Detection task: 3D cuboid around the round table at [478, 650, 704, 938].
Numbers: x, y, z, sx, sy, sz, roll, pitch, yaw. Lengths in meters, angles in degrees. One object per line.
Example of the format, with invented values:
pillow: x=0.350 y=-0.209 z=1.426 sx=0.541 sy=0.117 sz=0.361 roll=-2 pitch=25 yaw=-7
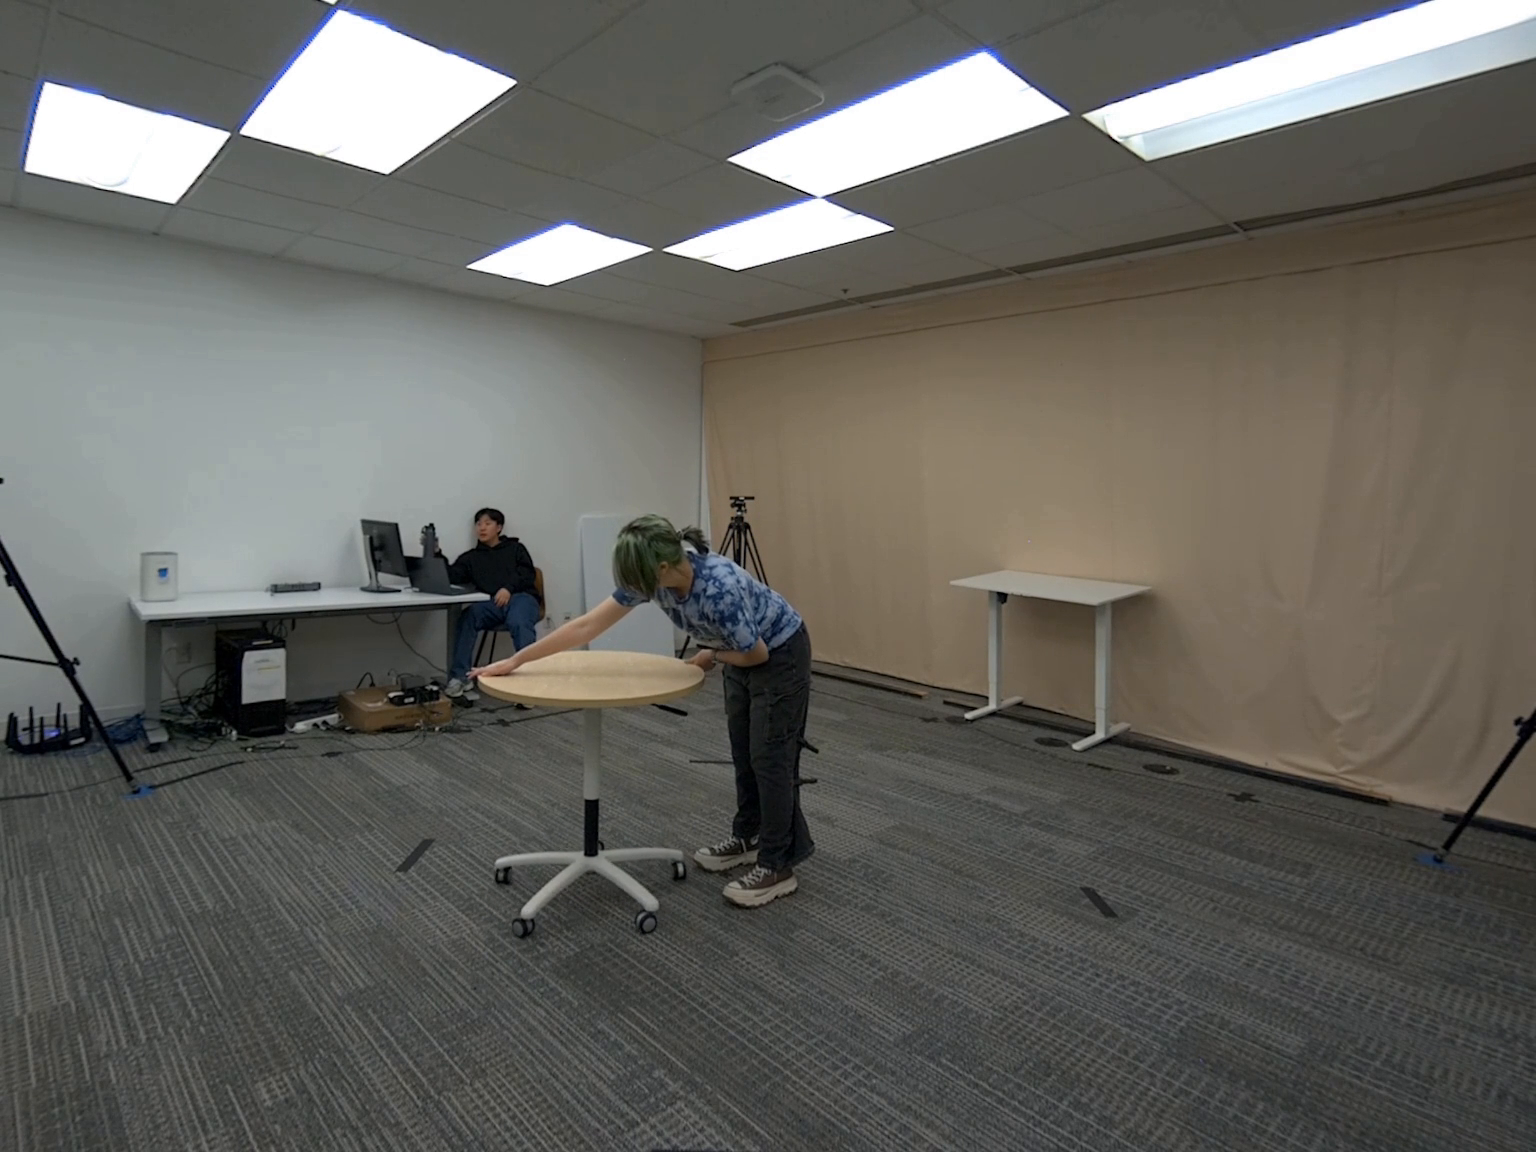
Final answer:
round table: x=-0.611 y=0.724 z=2.905 sx=0.763 sy=0.792 sz=0.767 roll=1 pitch=4 yaw=-1
